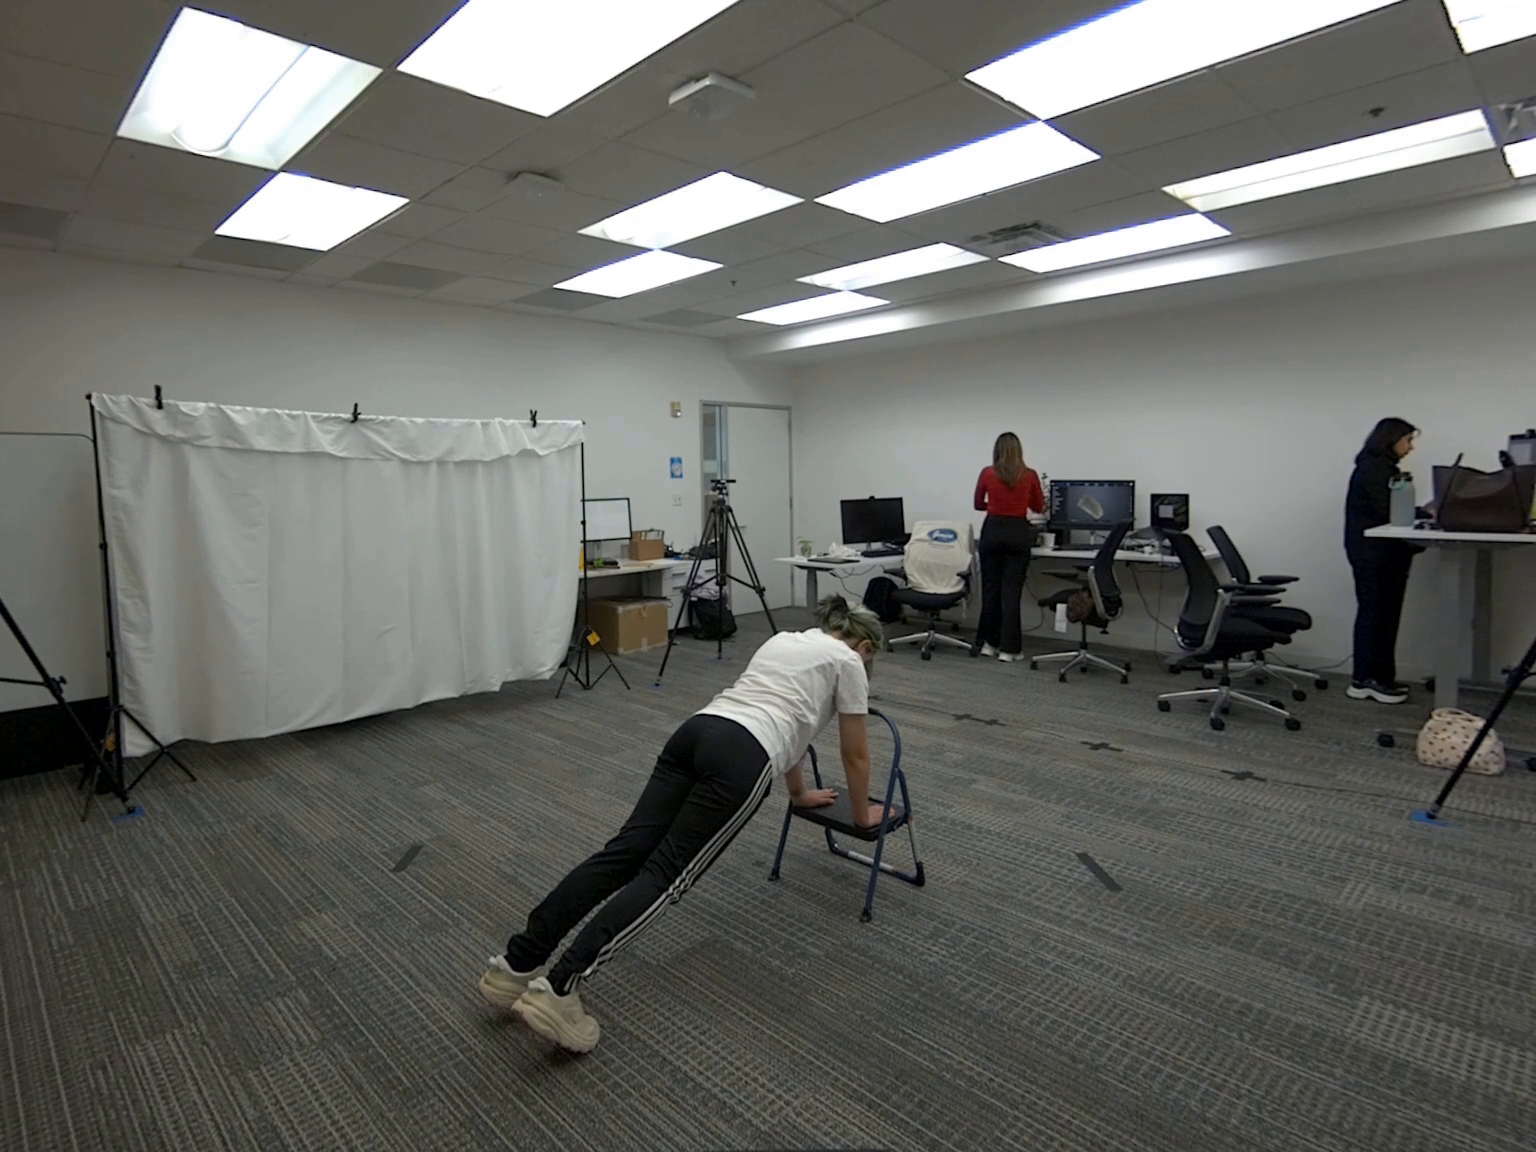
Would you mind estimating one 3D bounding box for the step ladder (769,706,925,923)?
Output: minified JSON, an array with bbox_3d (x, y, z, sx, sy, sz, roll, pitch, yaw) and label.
[{"bbox_3d":[0.272,0.759,2.939,0.444,0.604,0.340,4,6,45],"label":"step ladder"}]
